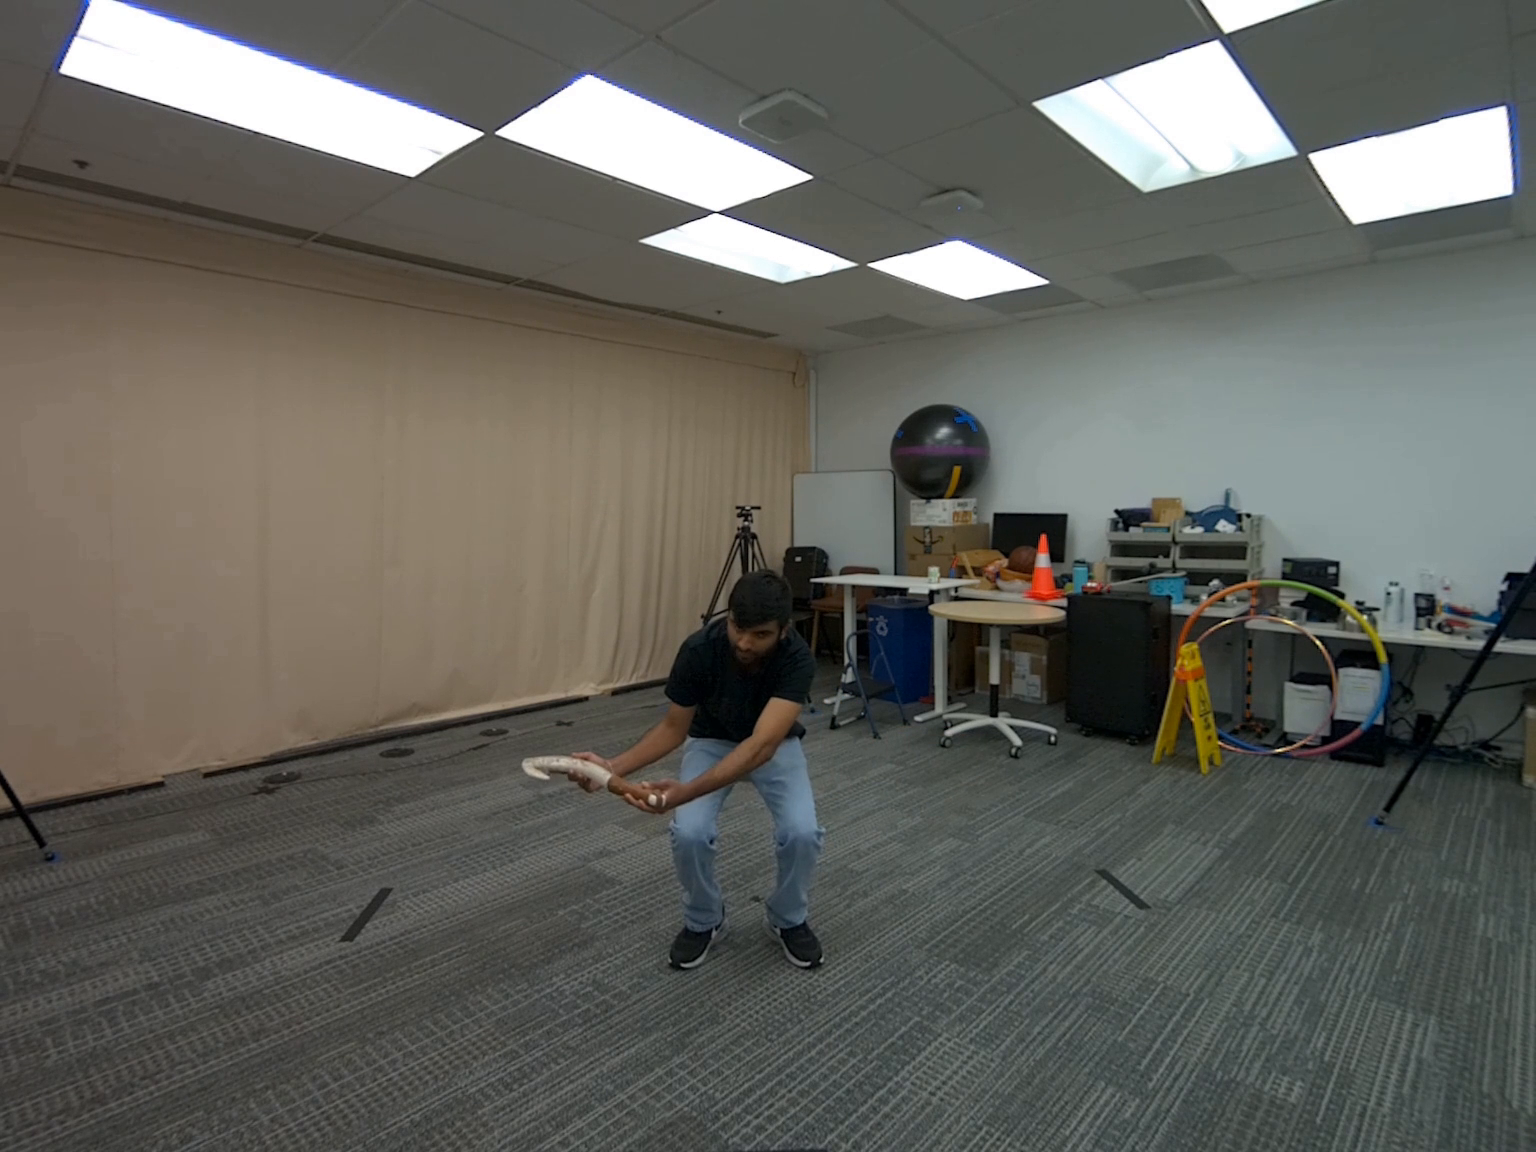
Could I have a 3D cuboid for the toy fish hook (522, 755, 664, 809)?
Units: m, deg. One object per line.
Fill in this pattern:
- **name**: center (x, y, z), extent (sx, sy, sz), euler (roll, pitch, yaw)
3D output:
- **toy fish hook**: center (-0.461, 0.547, 2.209), extent (0.217, 0.048, 0.523), euler (4, 0, -41)
